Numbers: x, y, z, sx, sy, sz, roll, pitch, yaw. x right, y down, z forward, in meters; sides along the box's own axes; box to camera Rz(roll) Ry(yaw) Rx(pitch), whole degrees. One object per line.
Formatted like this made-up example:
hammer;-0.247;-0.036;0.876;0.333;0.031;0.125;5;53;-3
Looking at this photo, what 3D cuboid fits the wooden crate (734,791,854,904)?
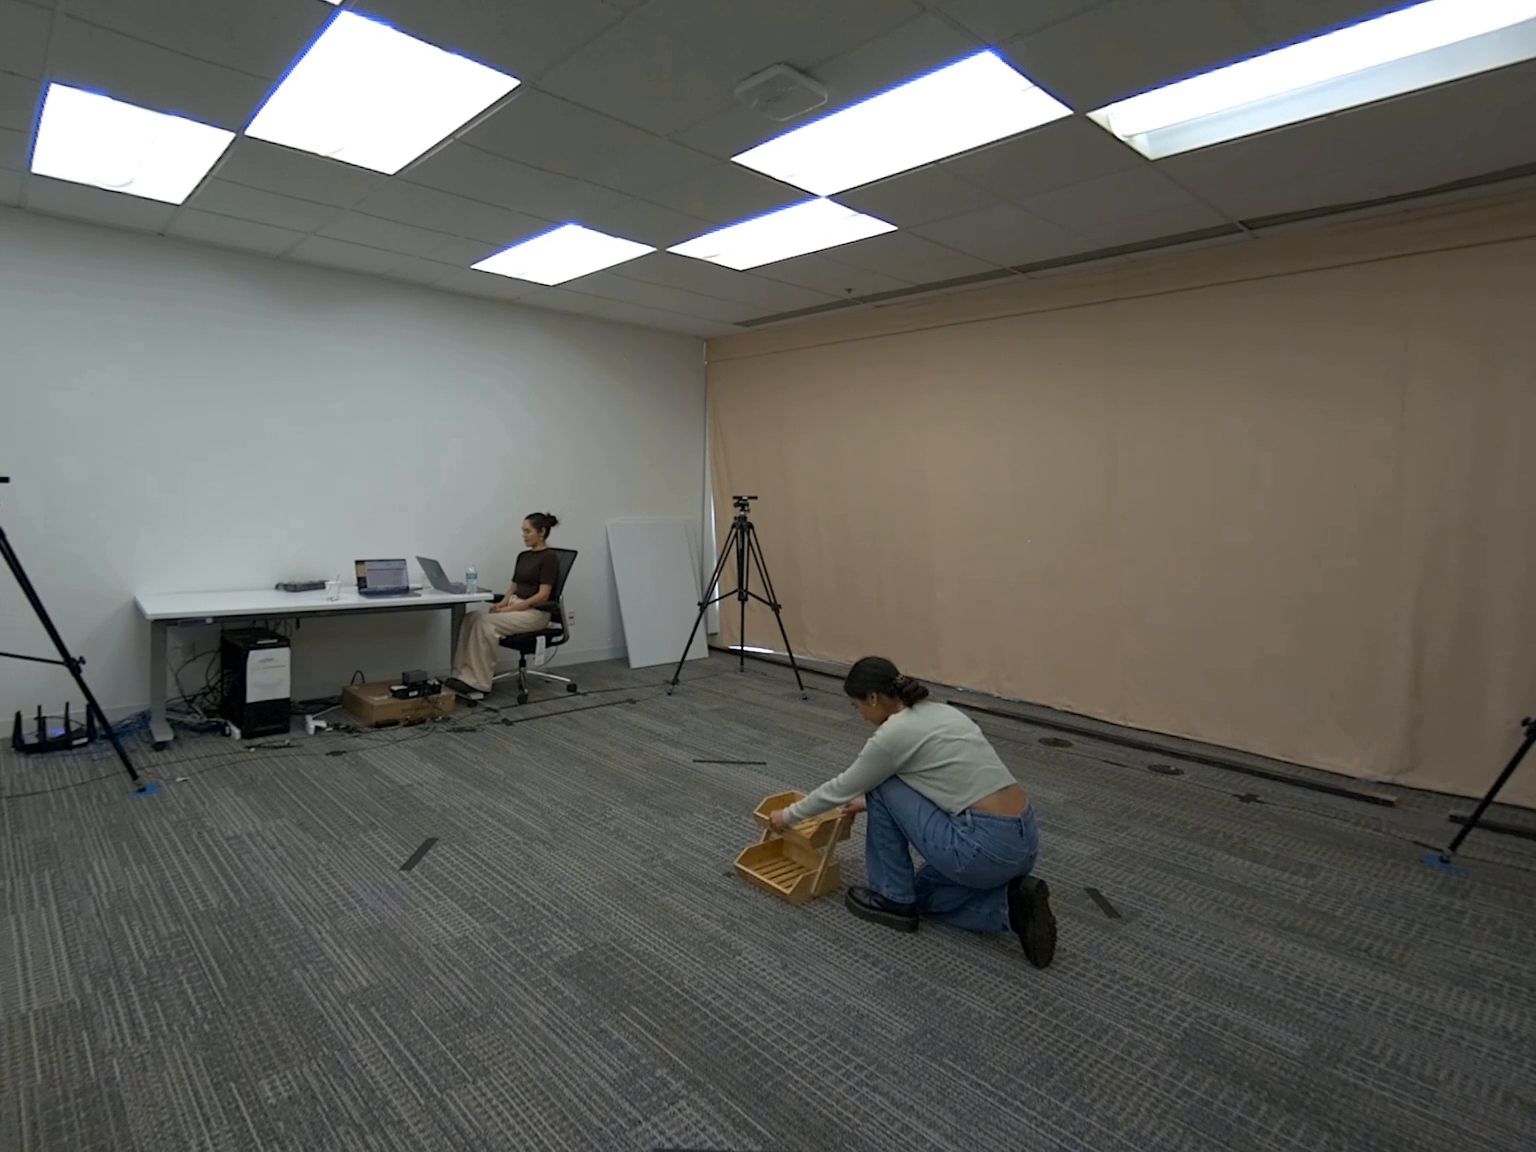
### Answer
wooden crate;0.077;0.975;3.066;0.295;0.273;0.333;-2;5;-40
